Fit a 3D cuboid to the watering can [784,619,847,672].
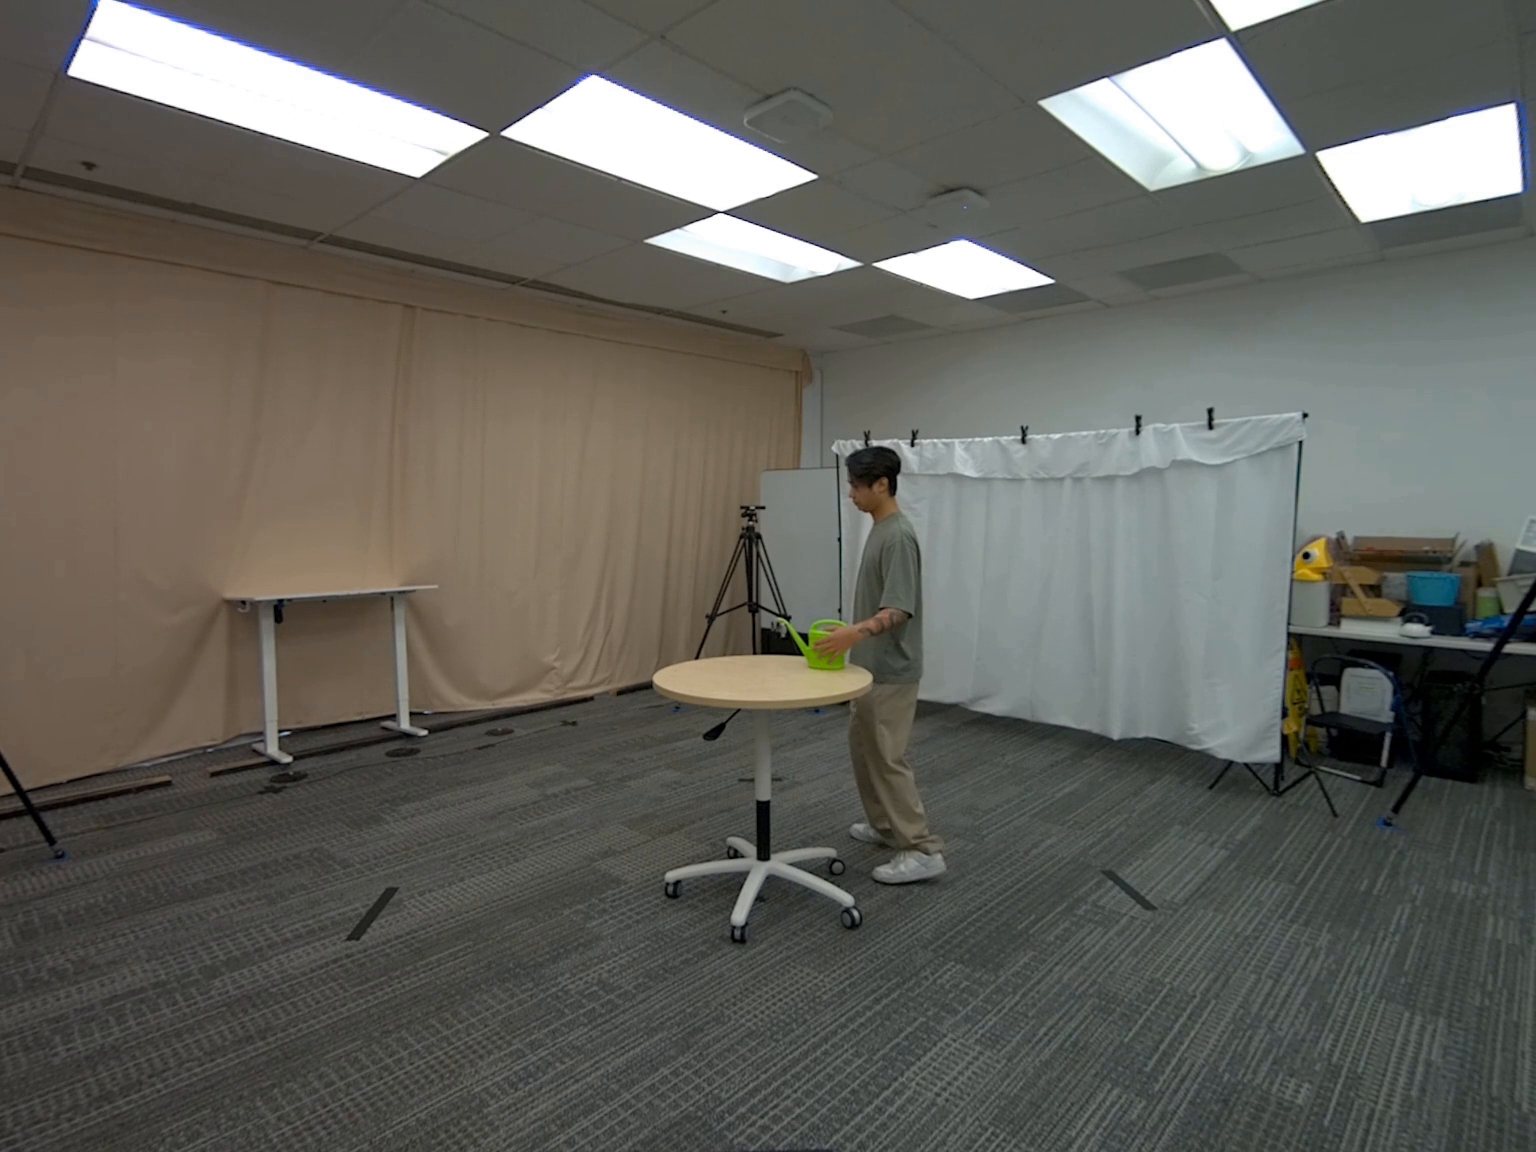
[{"bbox_3d":[0.176,0.248,3.083,0.285,0.176,0.095,3,3,26],"label":"watering can"}]
